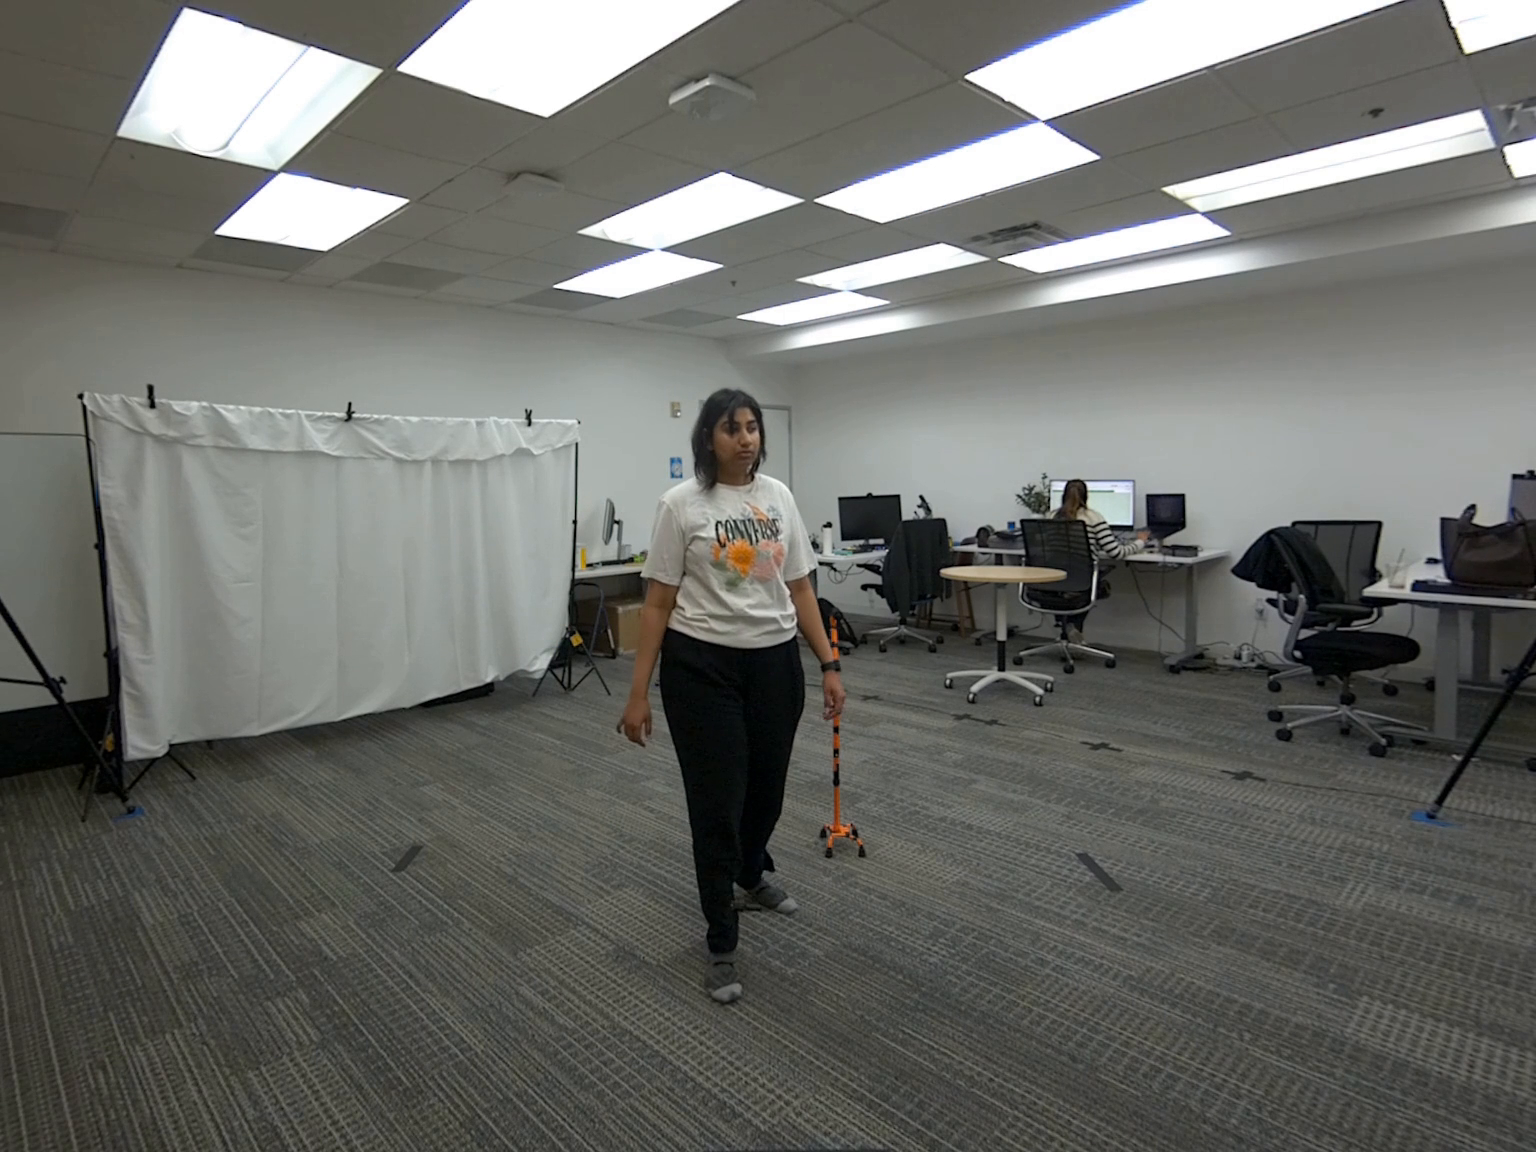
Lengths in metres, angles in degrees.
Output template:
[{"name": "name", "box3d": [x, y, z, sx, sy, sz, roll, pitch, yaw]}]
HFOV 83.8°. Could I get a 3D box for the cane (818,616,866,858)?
[{"name": "cane", "box3d": [0.273, 0.580, 3.218, 0.152, 0.905, 0.207, -2, 3, -1]}]
